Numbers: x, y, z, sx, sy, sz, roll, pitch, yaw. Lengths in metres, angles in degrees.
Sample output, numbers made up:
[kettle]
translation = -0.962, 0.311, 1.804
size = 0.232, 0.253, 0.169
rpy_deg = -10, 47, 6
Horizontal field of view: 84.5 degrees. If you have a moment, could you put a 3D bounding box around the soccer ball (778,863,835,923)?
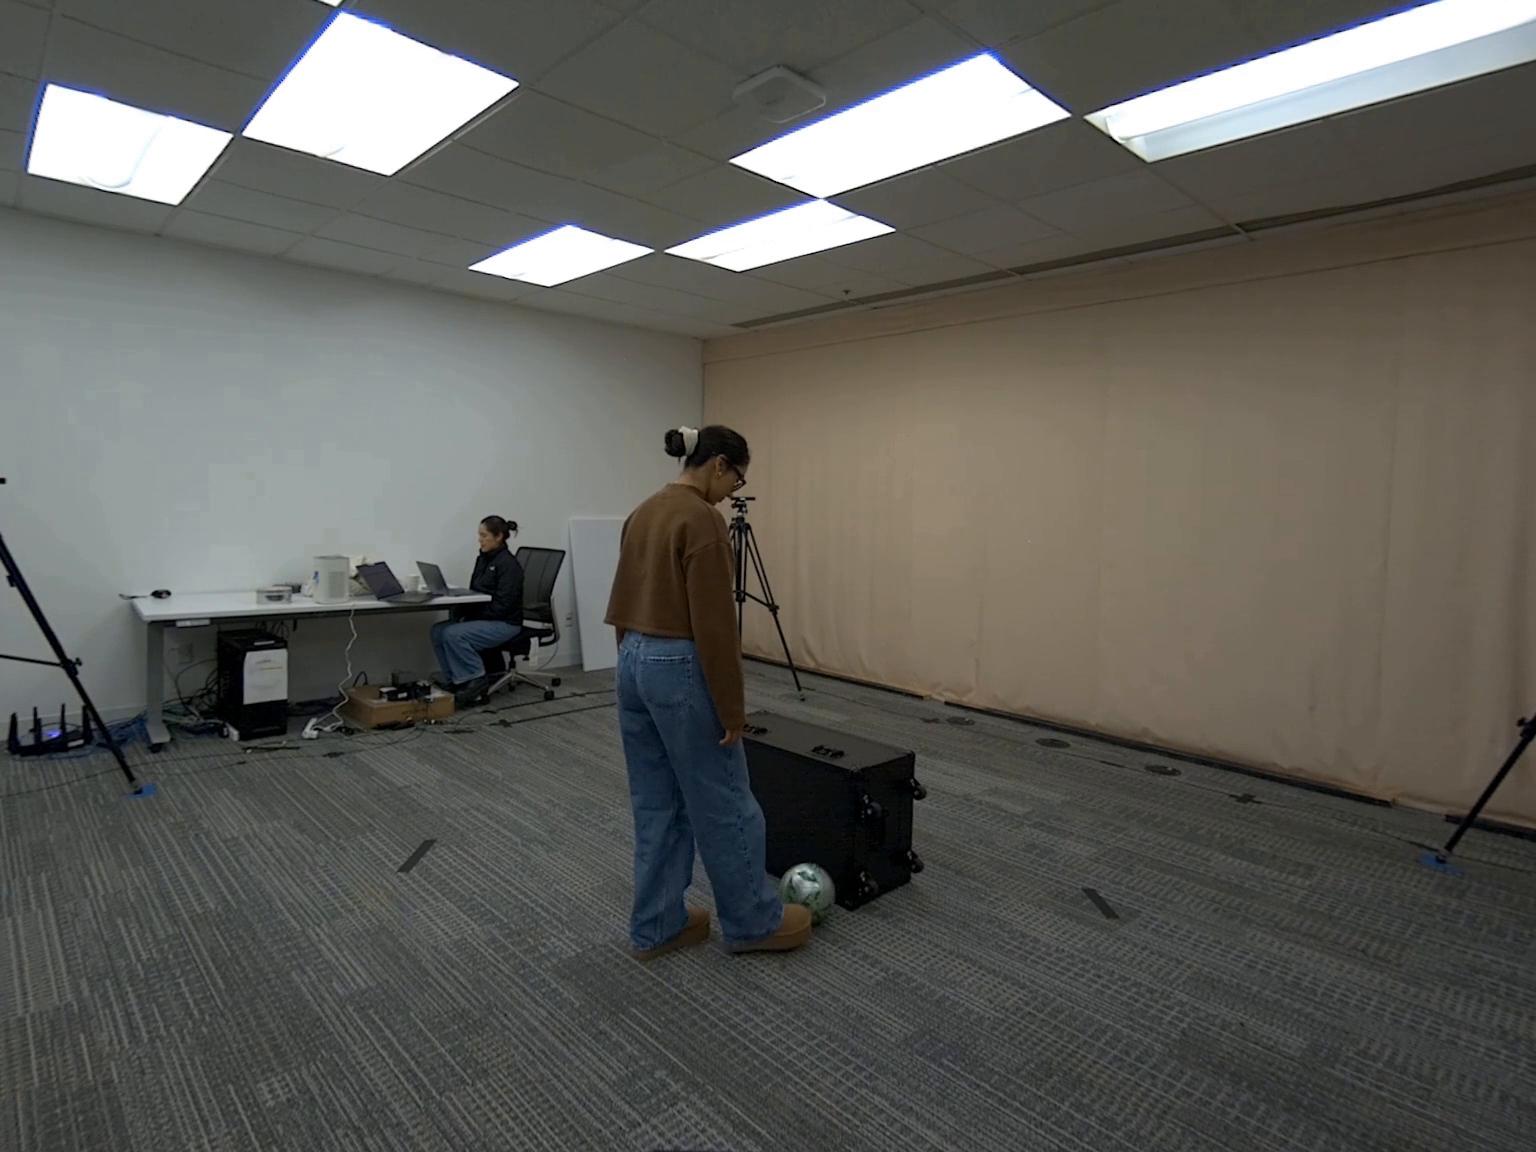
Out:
[soccer ball]
translation = 0.109, 1.048, 2.769
size = 0.187, 0.187, 0.188
rpy_deg = 1, 4, -1
